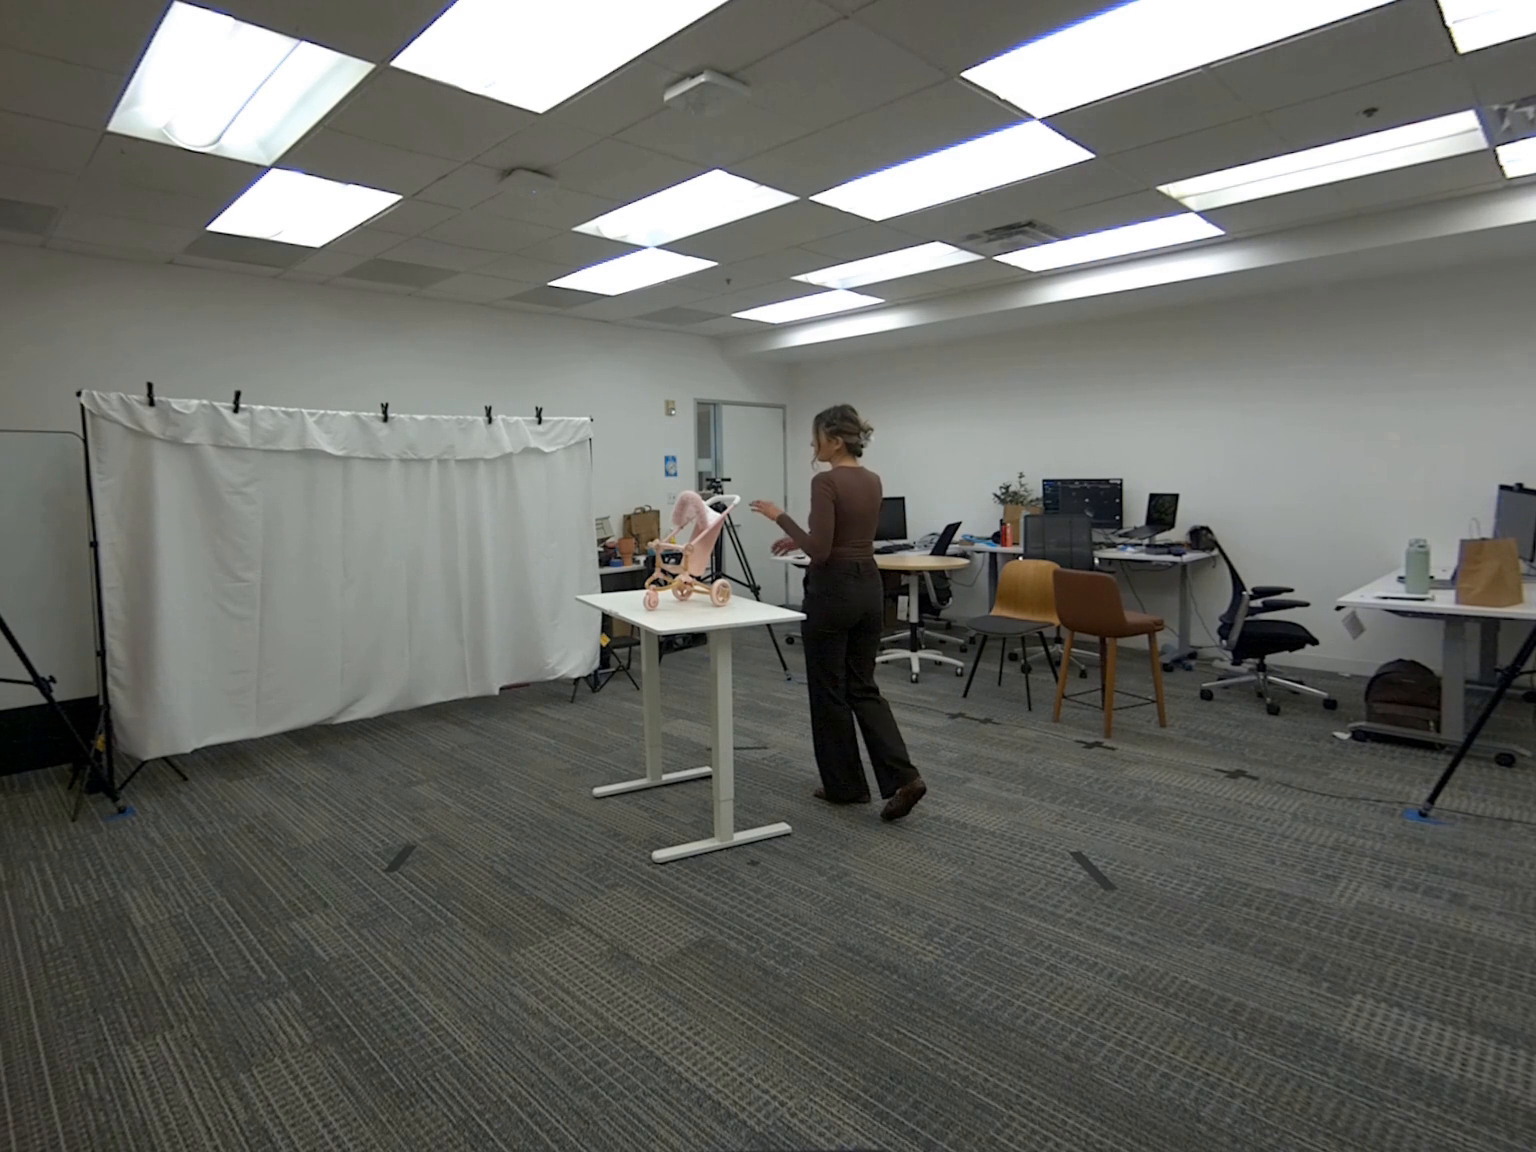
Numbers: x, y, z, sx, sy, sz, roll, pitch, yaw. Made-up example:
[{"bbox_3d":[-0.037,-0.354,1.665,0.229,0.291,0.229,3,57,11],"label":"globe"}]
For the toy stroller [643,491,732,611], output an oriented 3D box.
[{"bbox_3d":[-0.330,-0.104,3.491,0.330,0.537,0.290,13,-5,-37],"label":"toy stroller"}]
